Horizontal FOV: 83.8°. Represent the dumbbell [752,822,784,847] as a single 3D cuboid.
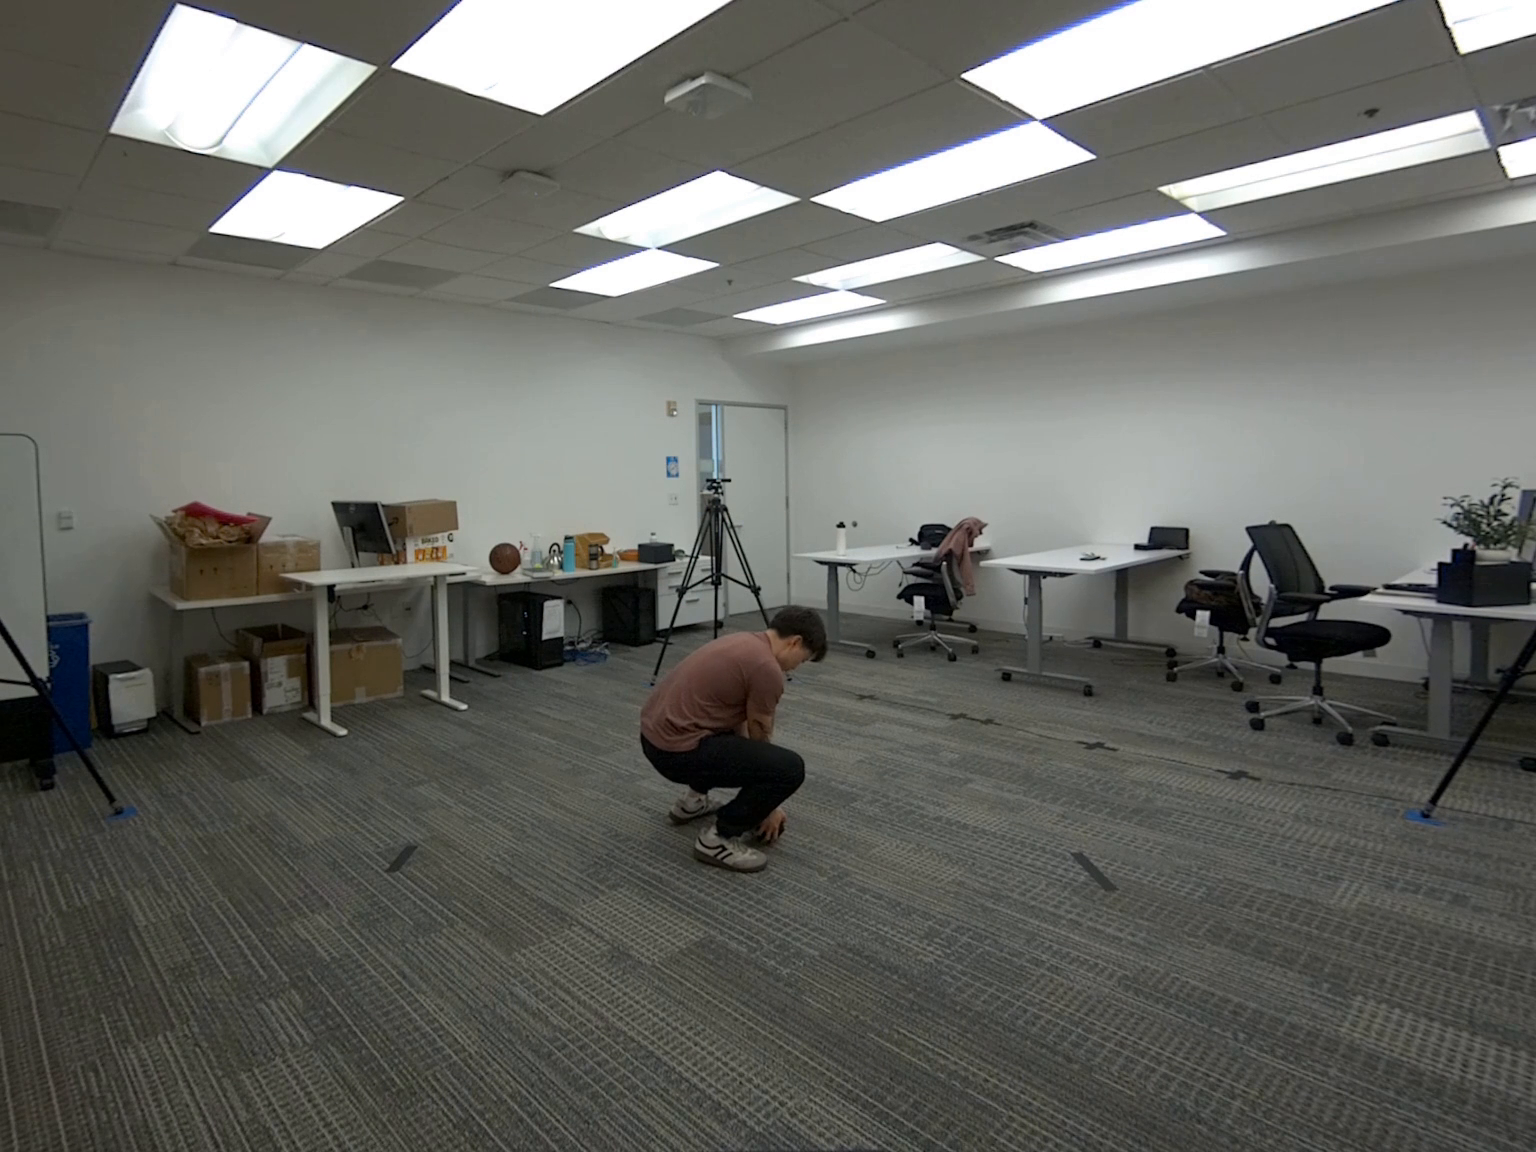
[{"bbox_3d":[-0.024,0.955,3.407,0.120,0.109,0.299,17,1,-18],"label":"dumbbell"}]
